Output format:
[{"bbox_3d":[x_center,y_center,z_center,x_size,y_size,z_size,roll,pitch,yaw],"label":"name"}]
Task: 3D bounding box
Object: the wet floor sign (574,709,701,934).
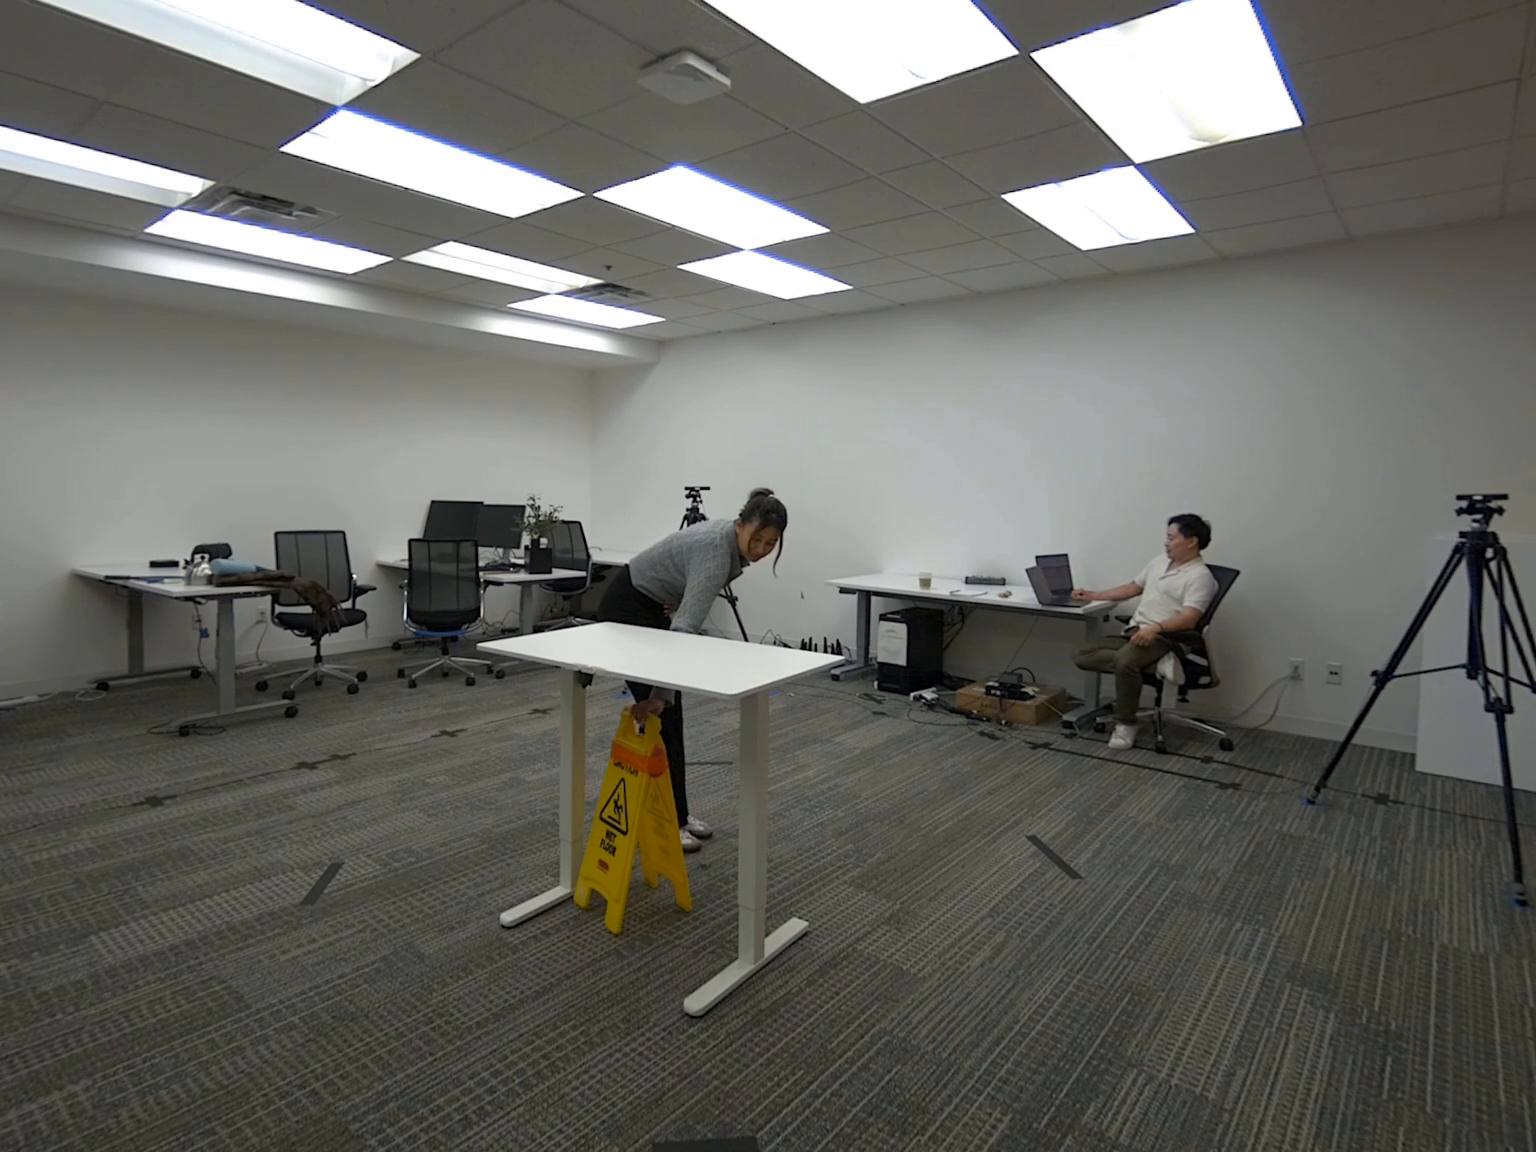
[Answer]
[{"bbox_3d":[-0.441,0.764,2.794,0.281,0.645,0.291,0,2,-39],"label":"wet floor sign"}]
